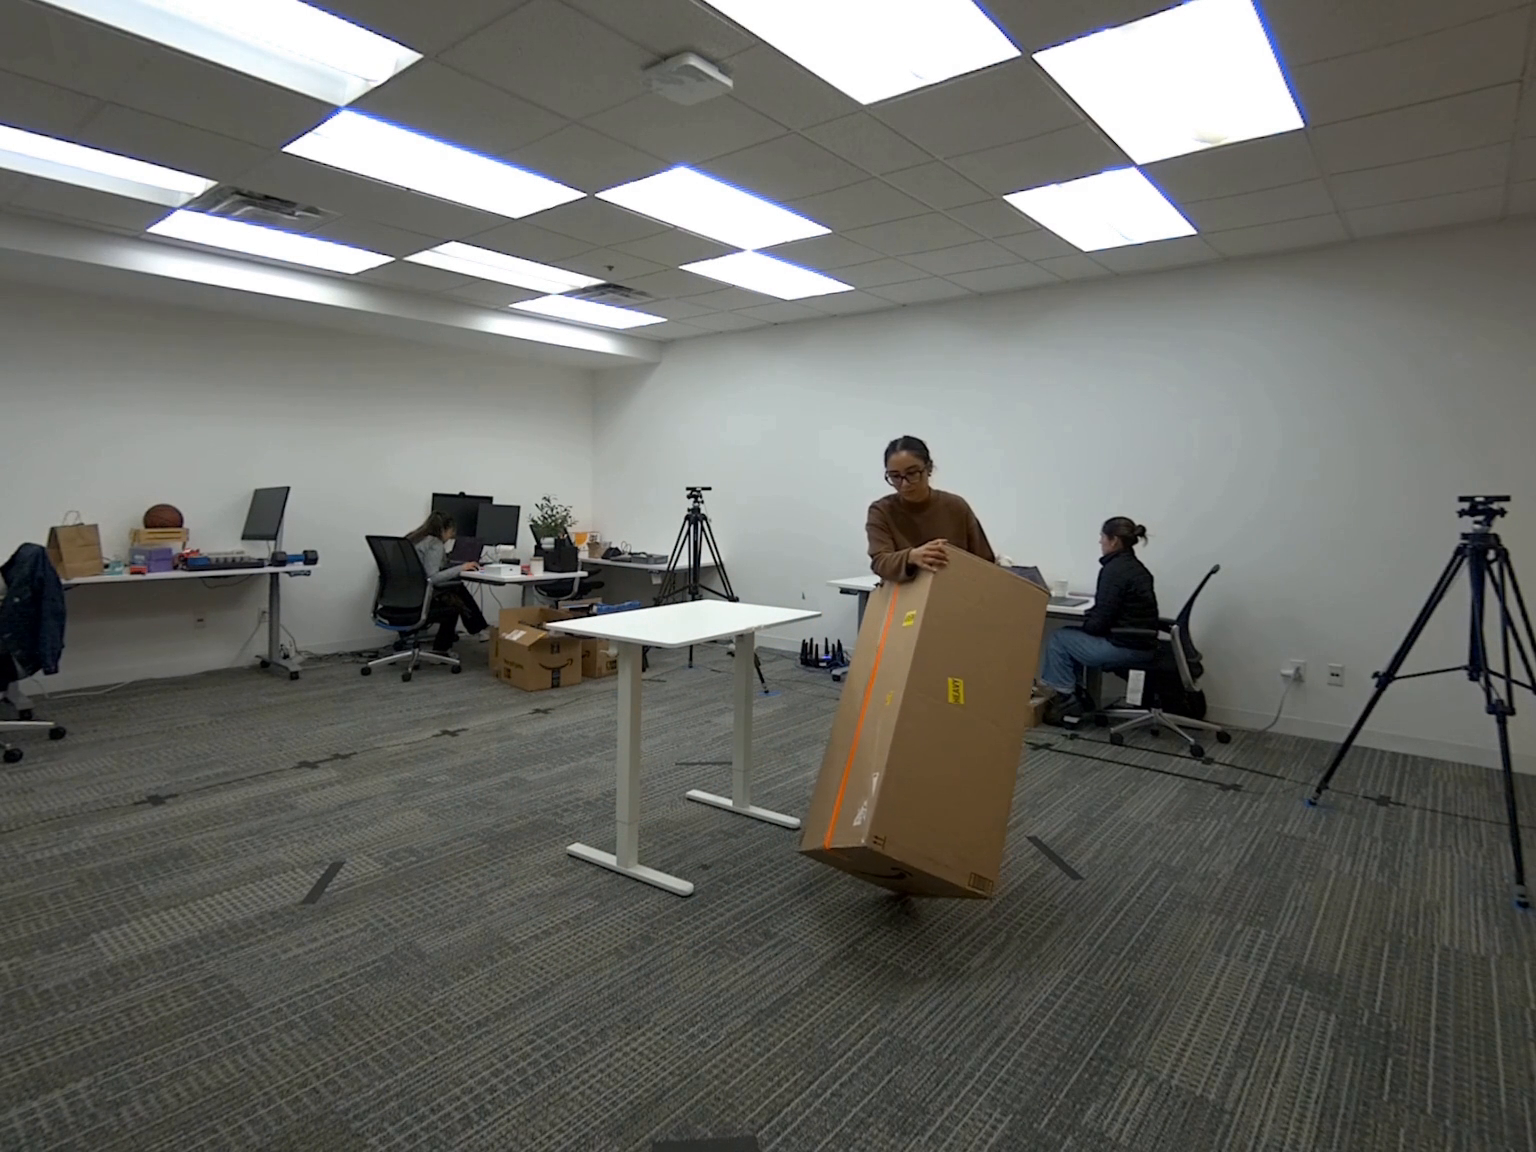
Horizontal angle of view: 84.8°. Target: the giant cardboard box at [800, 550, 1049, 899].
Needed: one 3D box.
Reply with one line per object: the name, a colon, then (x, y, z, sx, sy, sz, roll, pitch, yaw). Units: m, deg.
giant cardboard box: (0.518, 0.497, 2.892, 0.422, 1.039, 0.577, 24, -25, -9)
